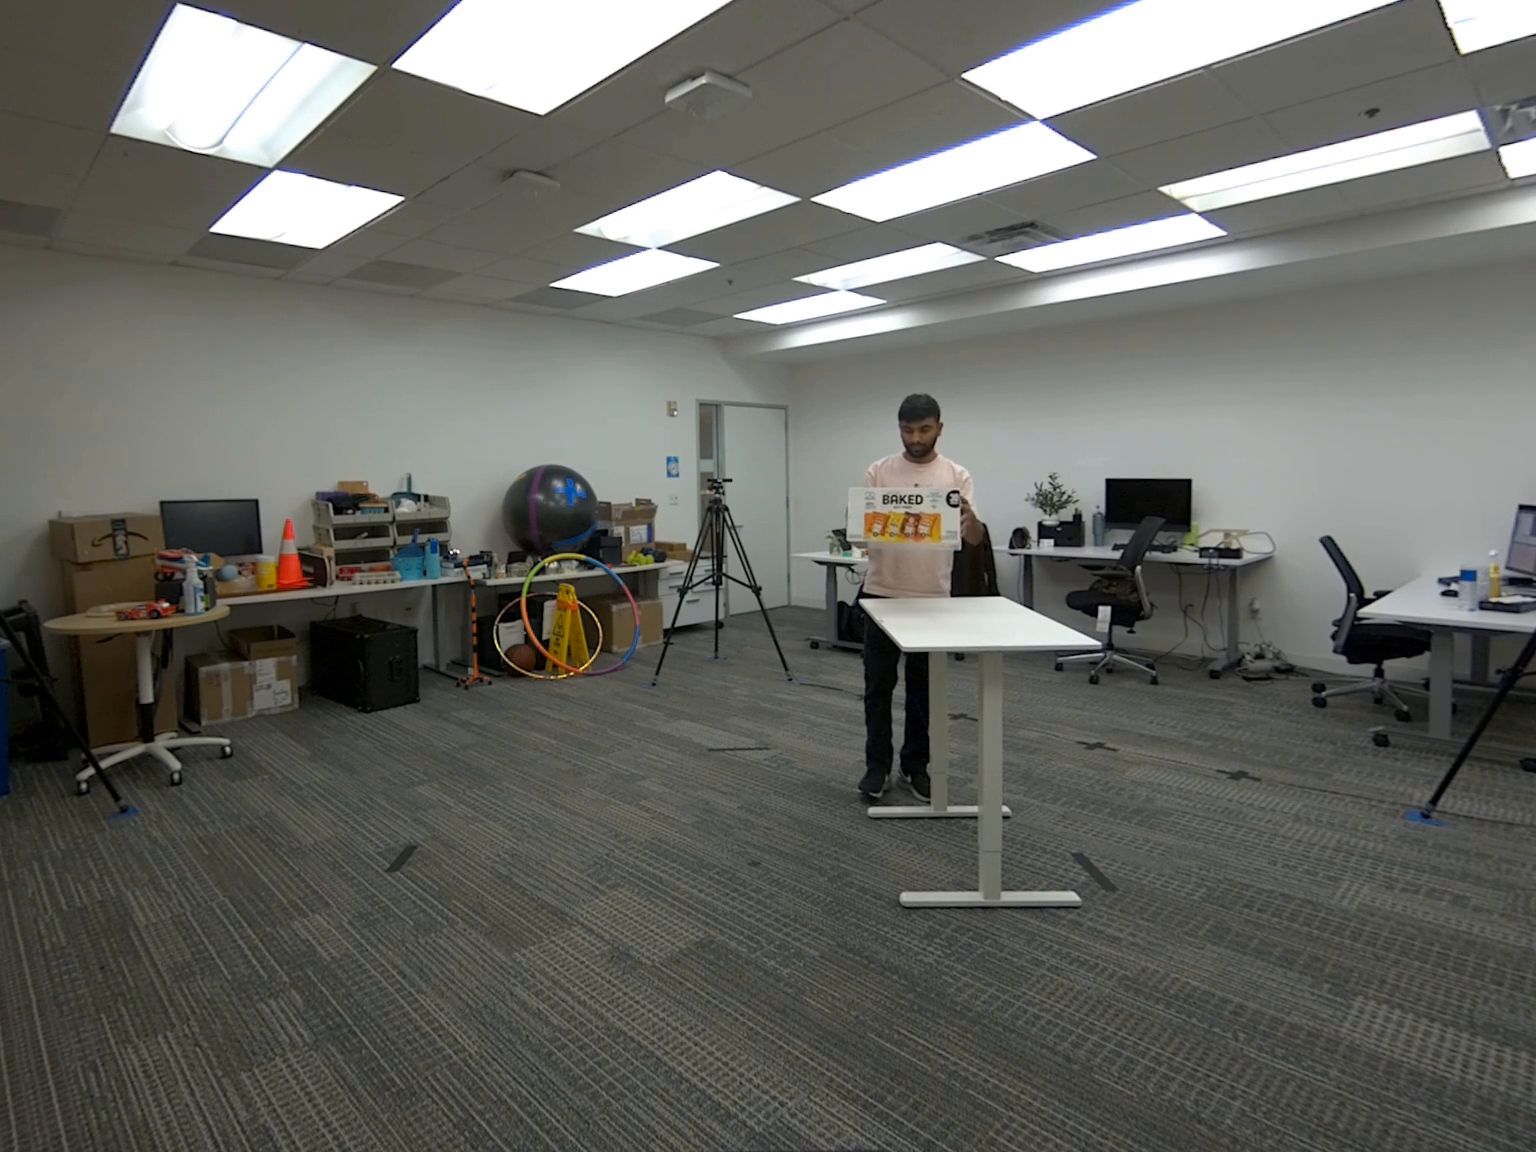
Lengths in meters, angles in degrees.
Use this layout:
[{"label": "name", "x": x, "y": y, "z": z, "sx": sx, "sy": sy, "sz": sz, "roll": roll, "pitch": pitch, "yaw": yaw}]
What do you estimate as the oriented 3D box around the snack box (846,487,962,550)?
[{"label": "snack box", "x": 0.526, "y": -0.218, "z": 3.291, "sx": 0.411, "sy": 0.206, "sz": 0.334, "roll": 1, "pitch": -2, "yaw": 14}]
